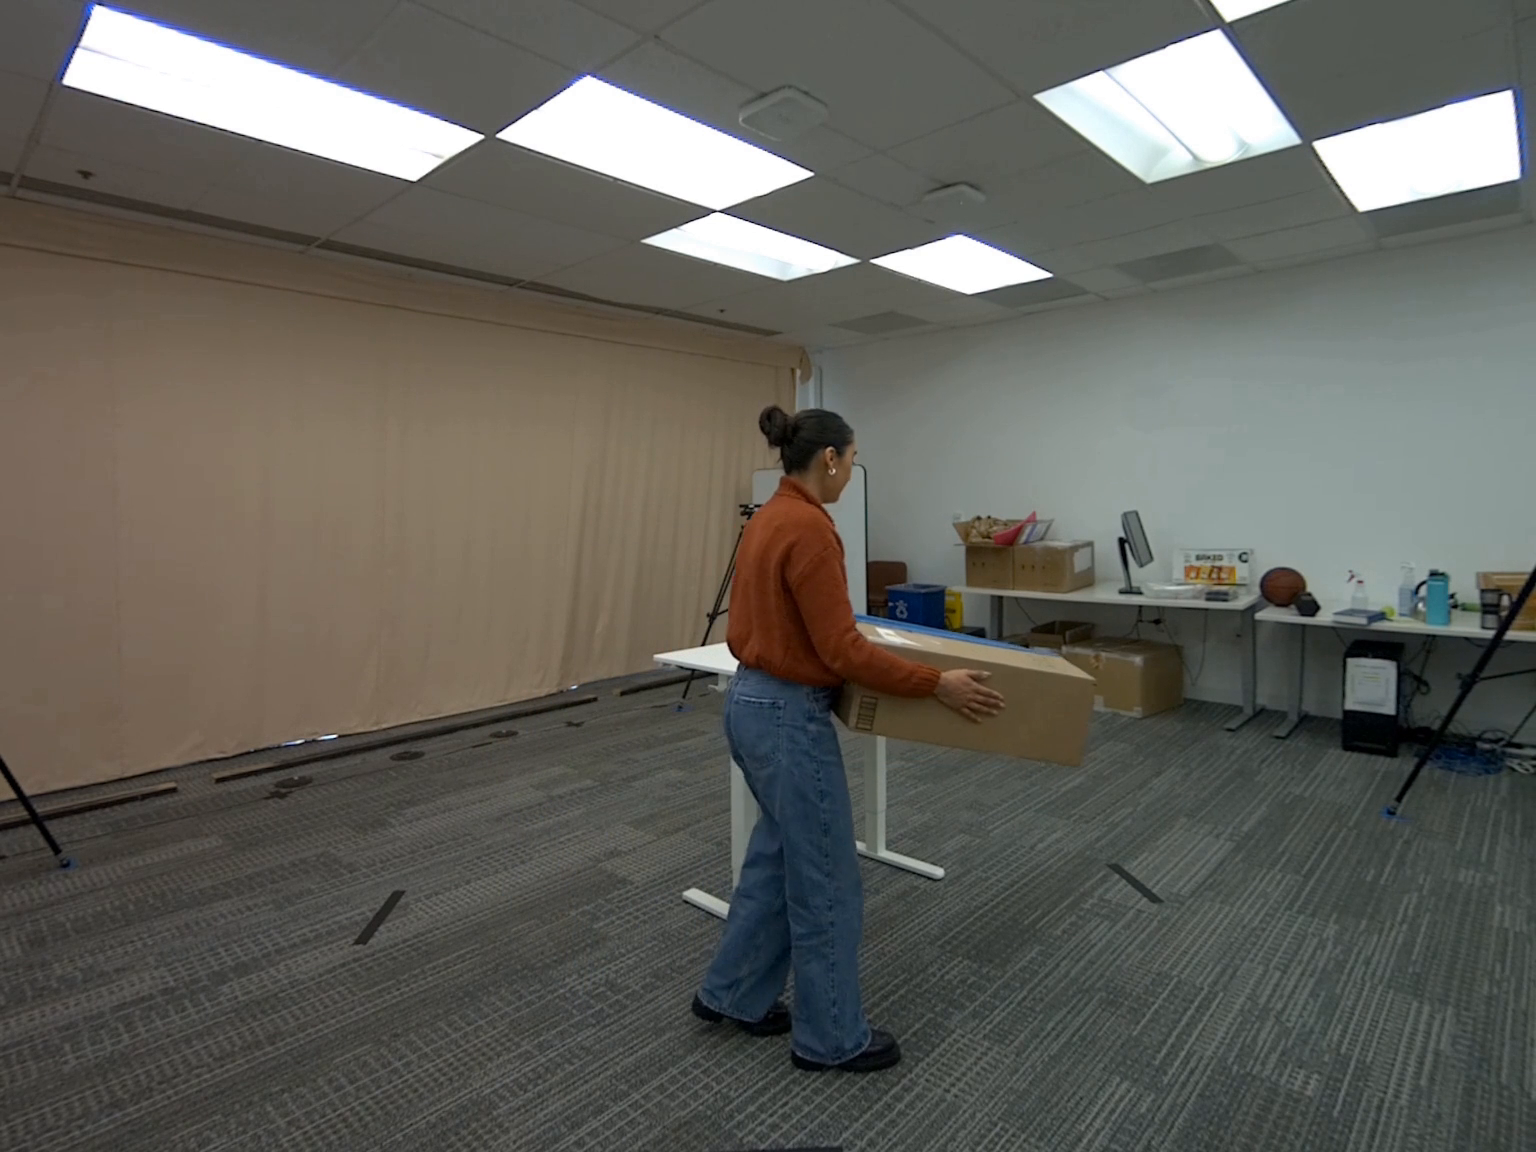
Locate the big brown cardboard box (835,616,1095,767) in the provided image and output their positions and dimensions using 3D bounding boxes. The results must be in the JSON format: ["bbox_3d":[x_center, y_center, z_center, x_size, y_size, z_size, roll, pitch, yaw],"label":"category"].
[{"bbox_3d":[0.448,0.278,2.143,0.585,0.233,0.421,11,3,-6],"label":"big brown cardboard box"}]
